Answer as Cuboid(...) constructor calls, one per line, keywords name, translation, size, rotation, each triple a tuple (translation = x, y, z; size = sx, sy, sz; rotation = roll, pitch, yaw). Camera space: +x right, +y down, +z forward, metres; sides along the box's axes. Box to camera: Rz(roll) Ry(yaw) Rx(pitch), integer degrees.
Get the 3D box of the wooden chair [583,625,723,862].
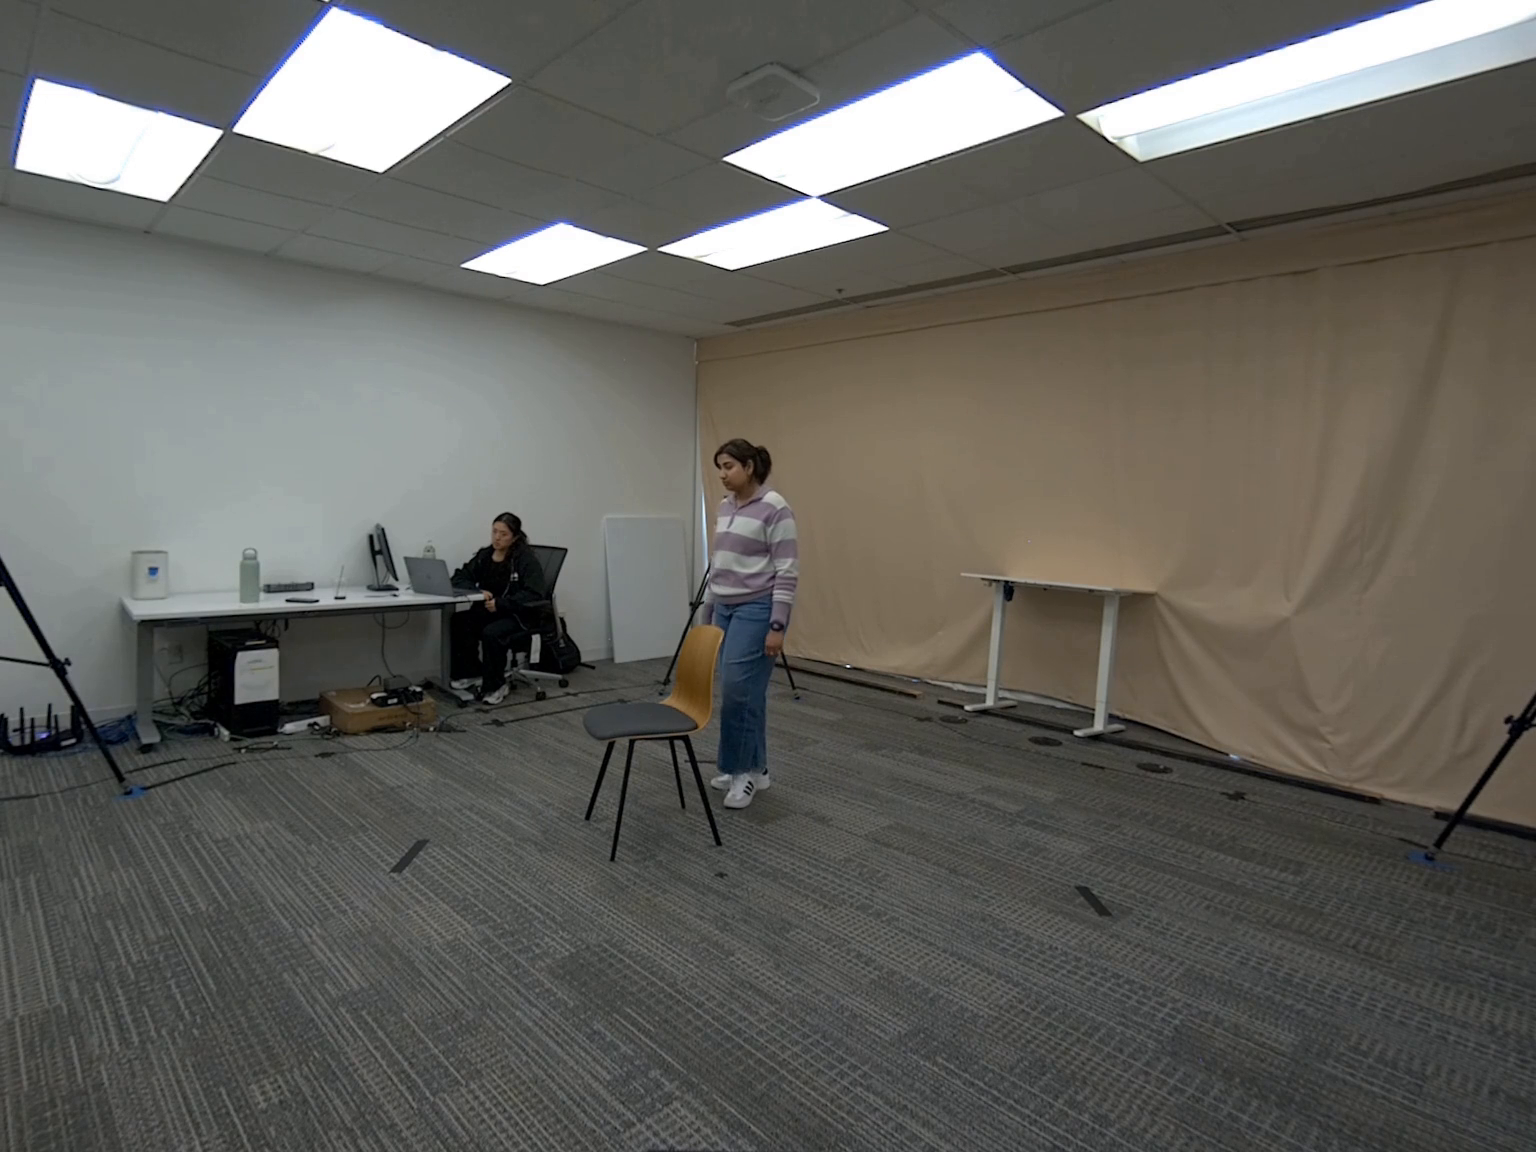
Cuboid(name="wooden chair", translation=(-0.487, 0.638, 3.447), size=(0.513, 0.876, 0.487), rotation=(4, 2, -24))
